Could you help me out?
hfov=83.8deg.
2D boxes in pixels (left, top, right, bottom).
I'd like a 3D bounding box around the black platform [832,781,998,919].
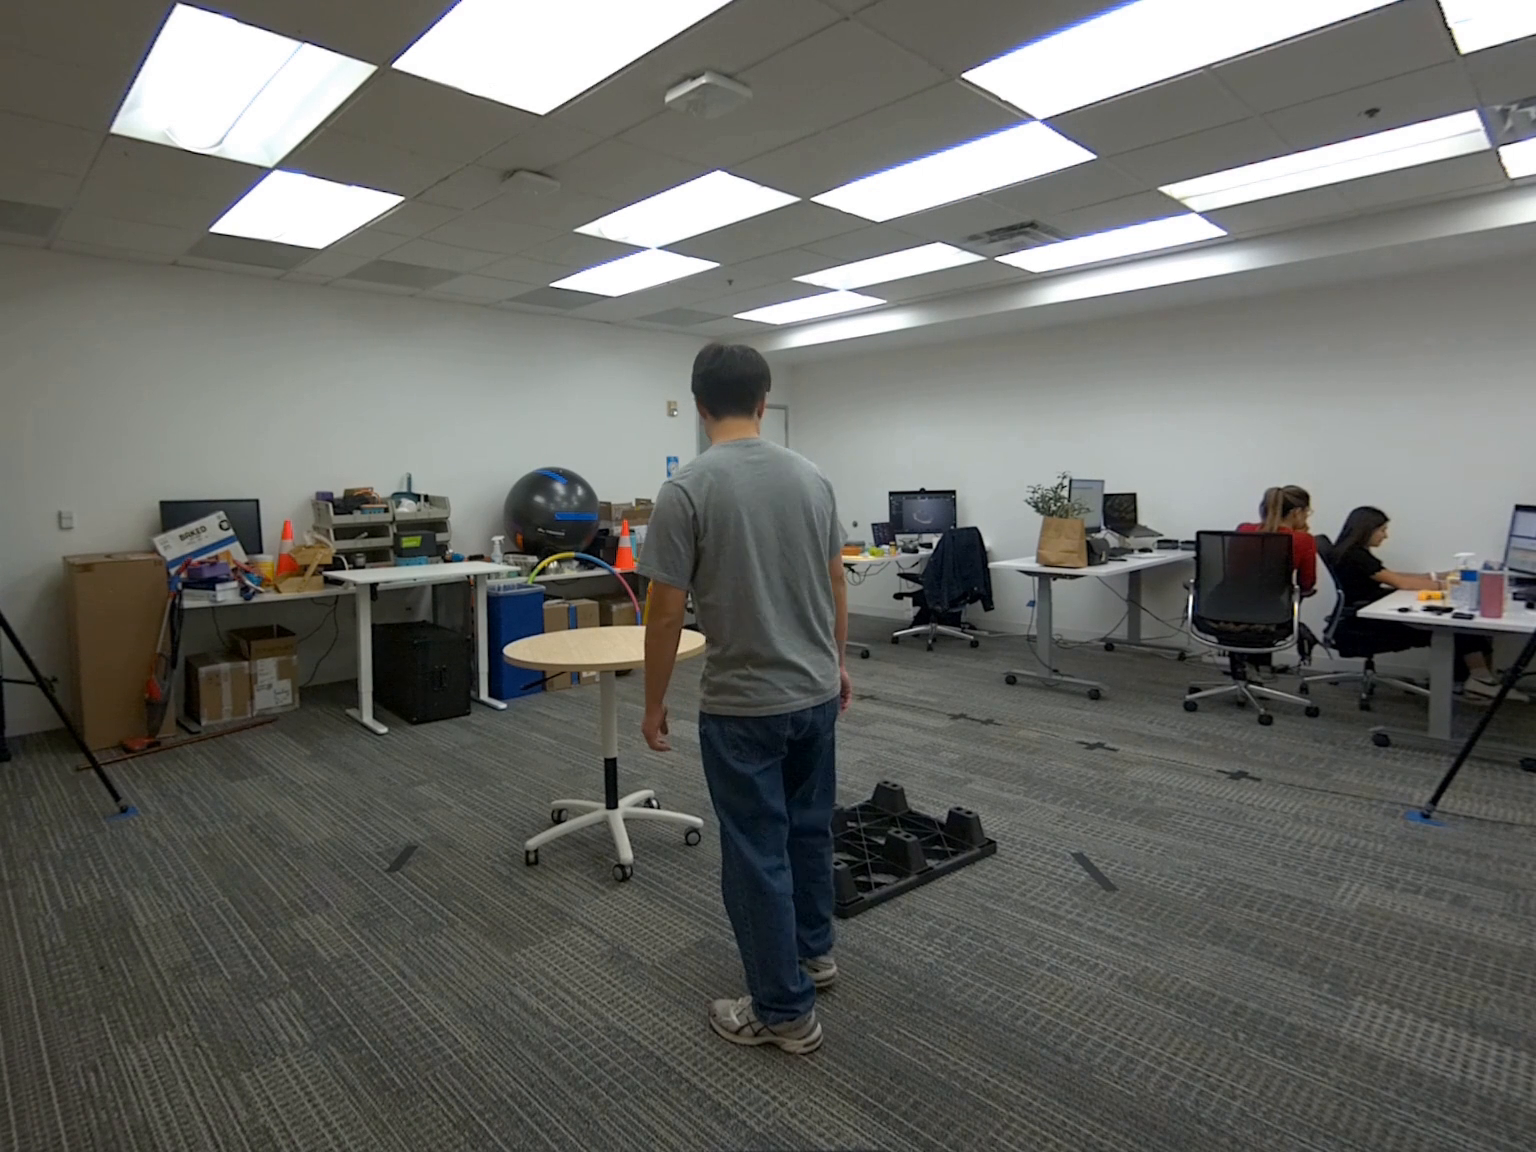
[{"bbox_3d":[0.359,0.967,3.170,0.785,0.142,0.624,-6,8,-38],"label":"black platform"}]
